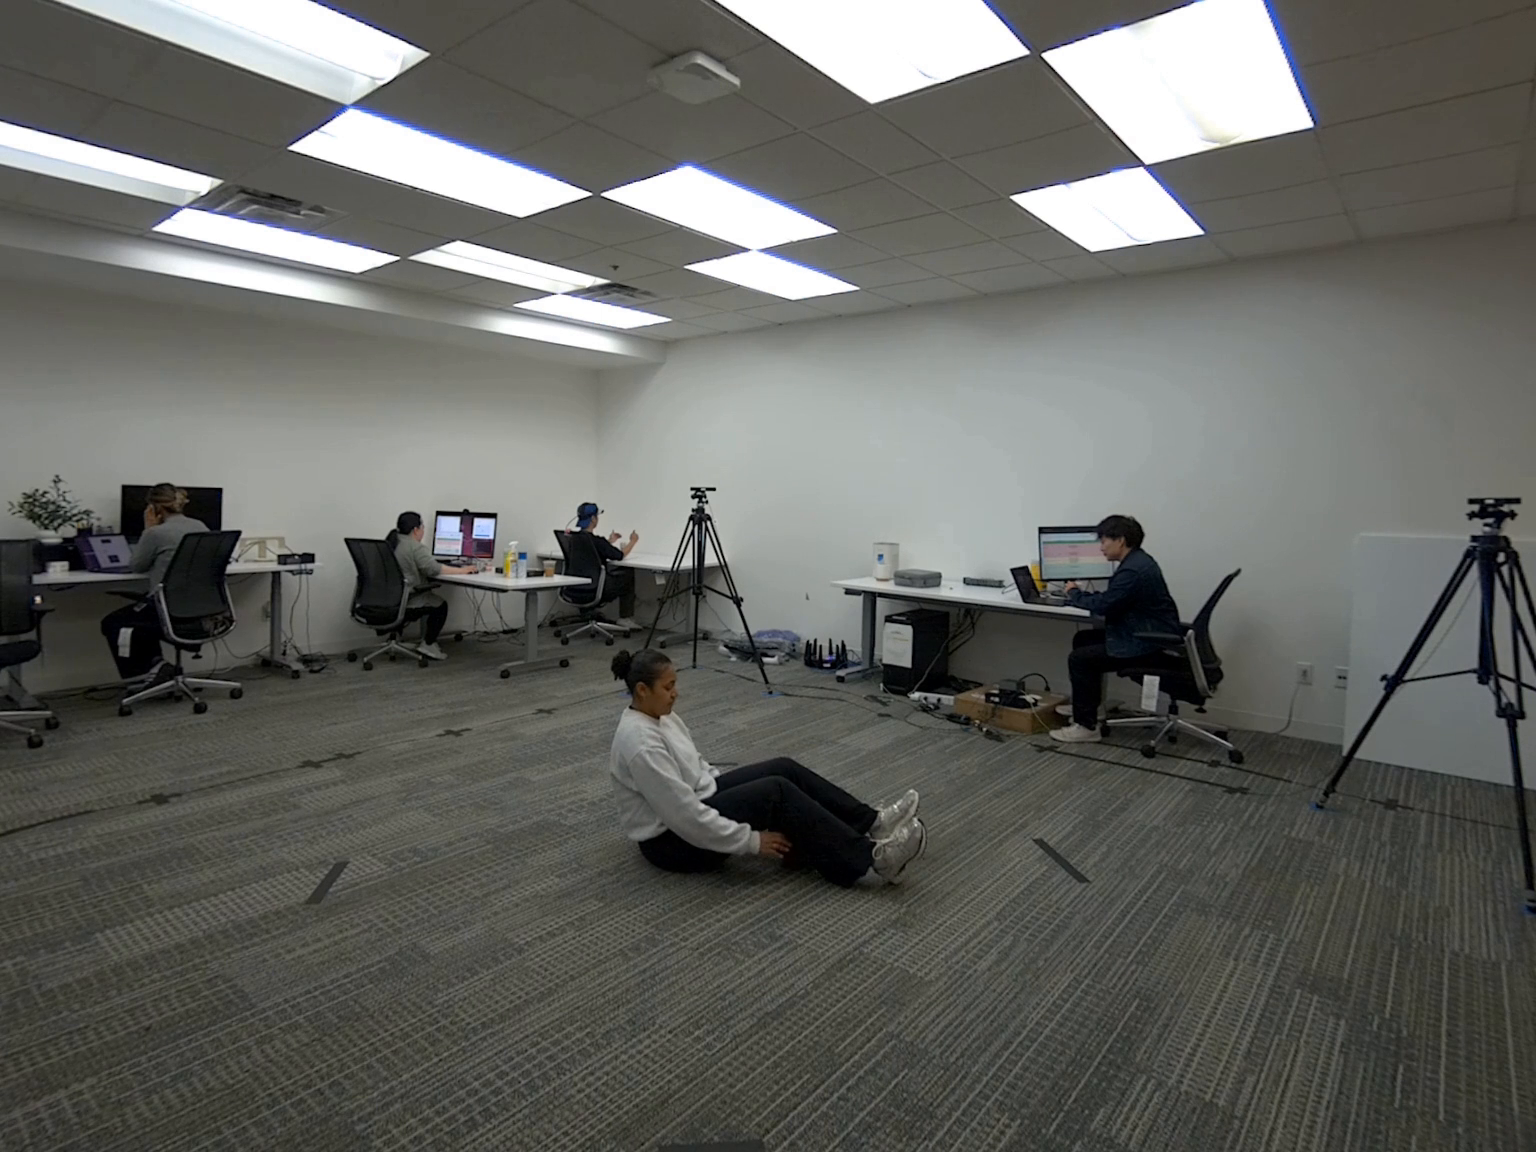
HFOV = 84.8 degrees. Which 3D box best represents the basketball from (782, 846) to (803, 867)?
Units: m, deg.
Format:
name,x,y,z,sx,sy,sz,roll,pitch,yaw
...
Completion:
name,x,y,z,sx,sy,sz,roll,pitch,yaw
basketball,0.109,0.942,3.172,0.235,0.235,0.237,1,4,-2
